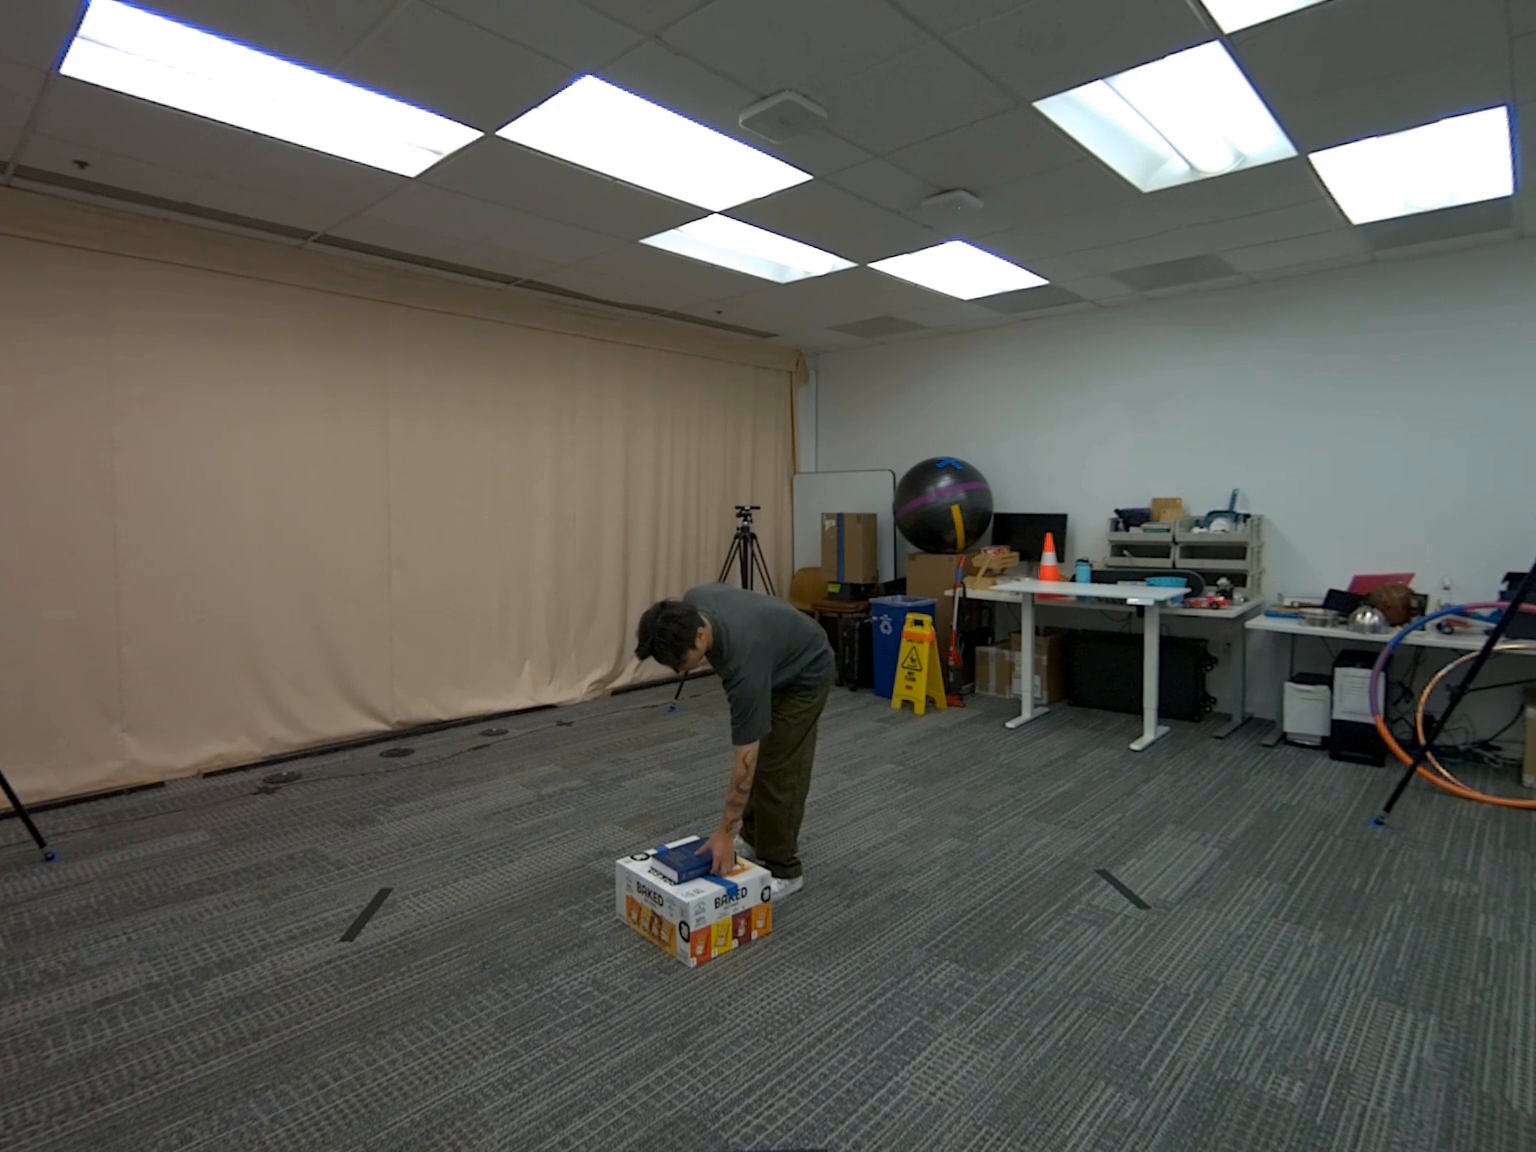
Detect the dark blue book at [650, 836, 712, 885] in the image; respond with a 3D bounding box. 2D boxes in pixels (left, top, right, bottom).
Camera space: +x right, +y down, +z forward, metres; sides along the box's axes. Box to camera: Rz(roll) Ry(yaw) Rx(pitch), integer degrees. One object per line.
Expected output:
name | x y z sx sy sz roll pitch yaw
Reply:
dark blue book | -0.249 0.948 2.795 0.238 0.045 0.169 -4 6 -40
